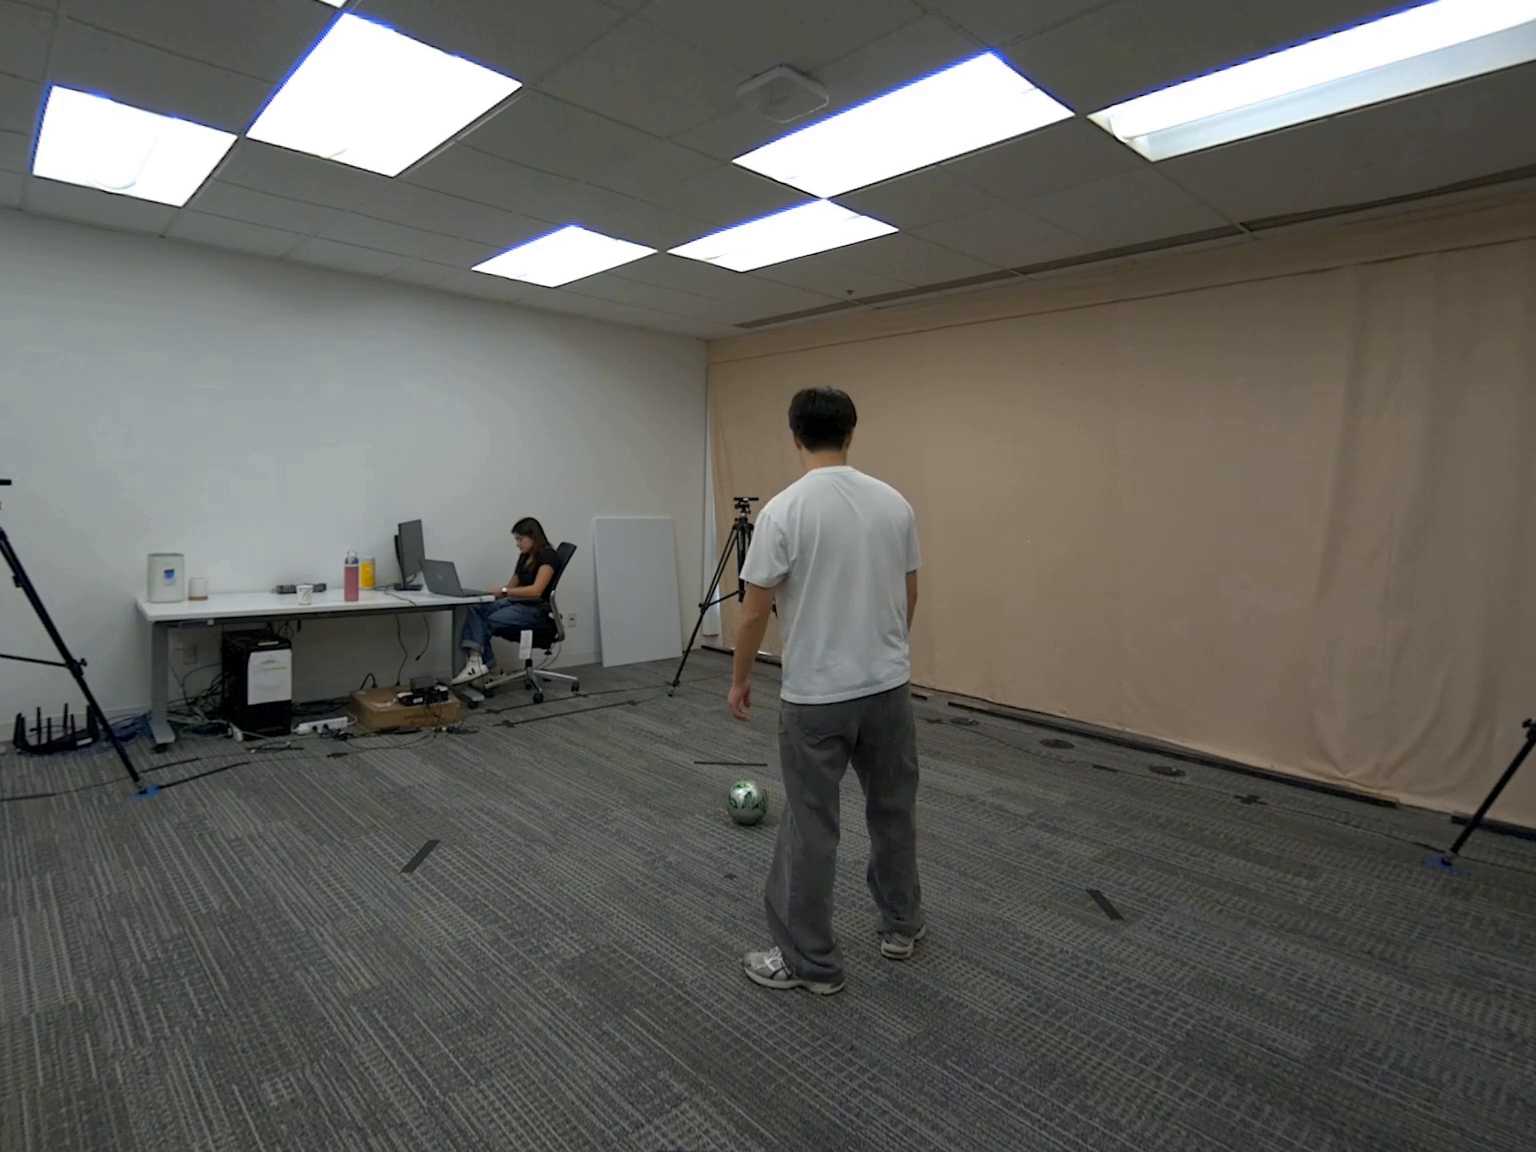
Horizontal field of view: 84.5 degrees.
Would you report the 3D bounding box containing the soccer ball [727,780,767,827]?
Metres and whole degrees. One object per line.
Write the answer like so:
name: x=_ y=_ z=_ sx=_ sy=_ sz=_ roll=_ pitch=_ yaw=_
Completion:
soccer ball: x=-0.102 y=0.975 z=3.620 sx=0.187 sy=0.187 sz=0.188 roll=1 pitch=4 yaw=-1
